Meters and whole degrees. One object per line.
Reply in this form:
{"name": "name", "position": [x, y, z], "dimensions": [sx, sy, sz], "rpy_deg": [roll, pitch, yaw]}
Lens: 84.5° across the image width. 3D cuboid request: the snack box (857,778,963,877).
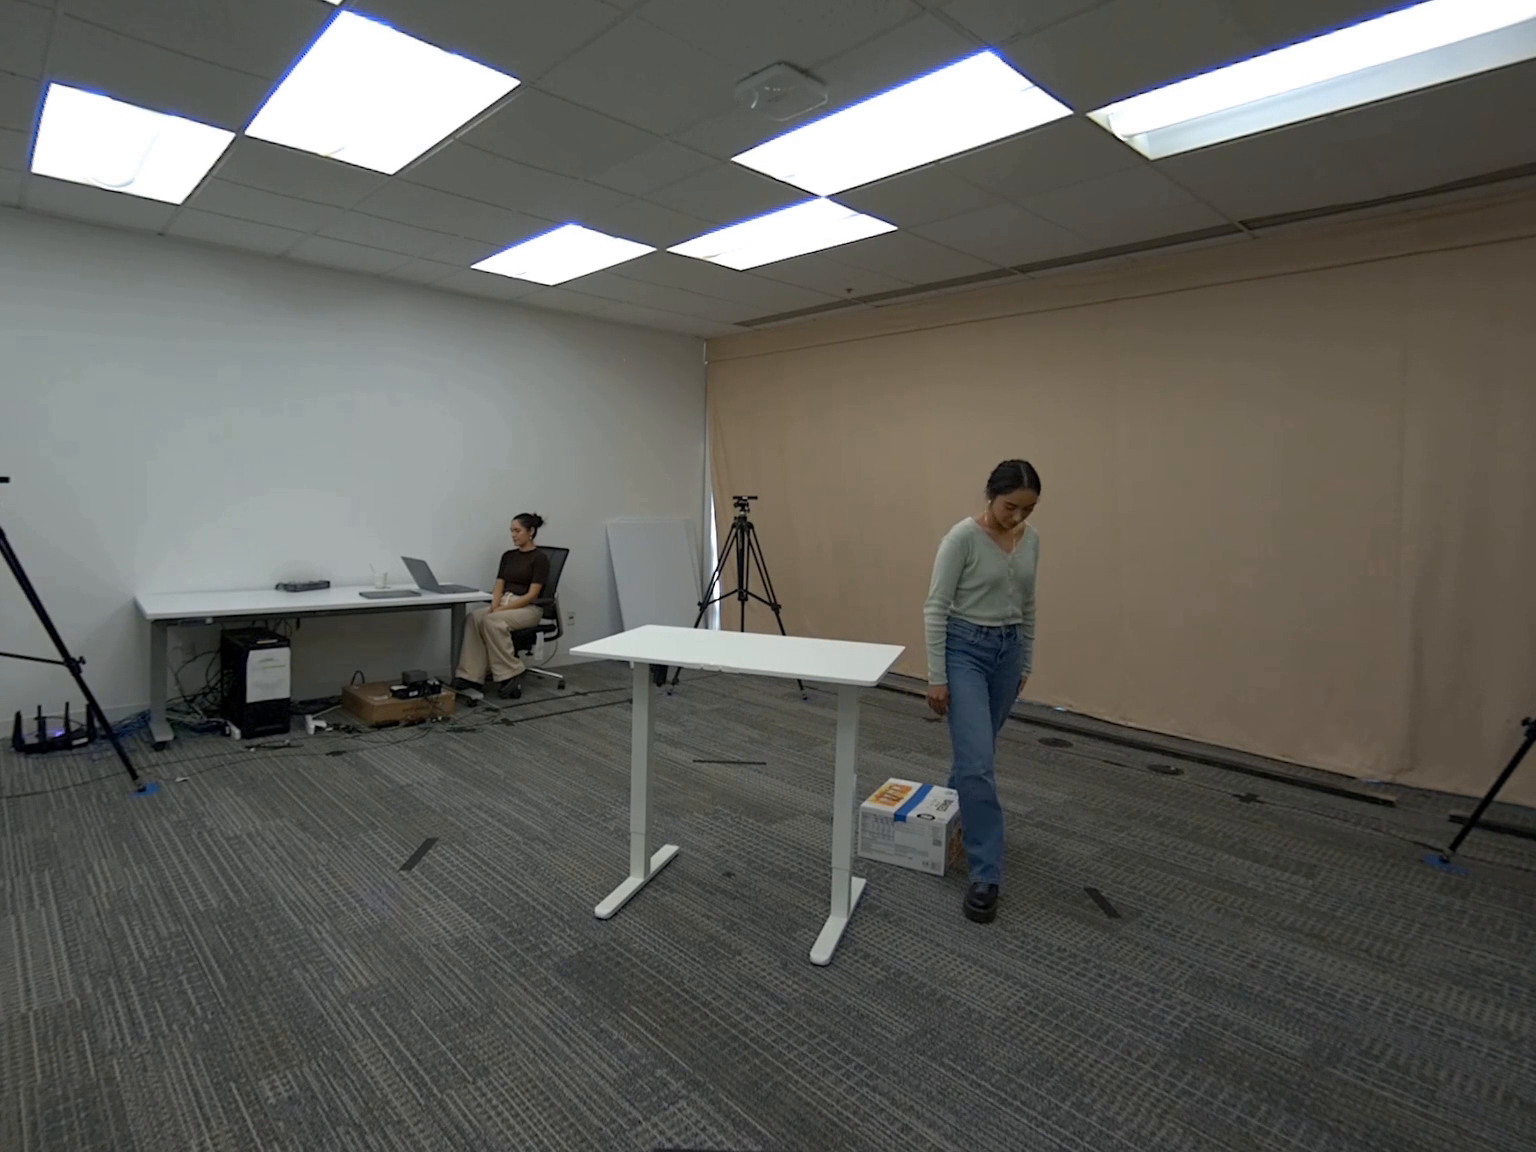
{"name": "snack box", "position": [0.587, 0.995, 3.377], "dimensions": [0.347, 0.205, 0.398], "rpy_deg": [4, 5, 27]}
